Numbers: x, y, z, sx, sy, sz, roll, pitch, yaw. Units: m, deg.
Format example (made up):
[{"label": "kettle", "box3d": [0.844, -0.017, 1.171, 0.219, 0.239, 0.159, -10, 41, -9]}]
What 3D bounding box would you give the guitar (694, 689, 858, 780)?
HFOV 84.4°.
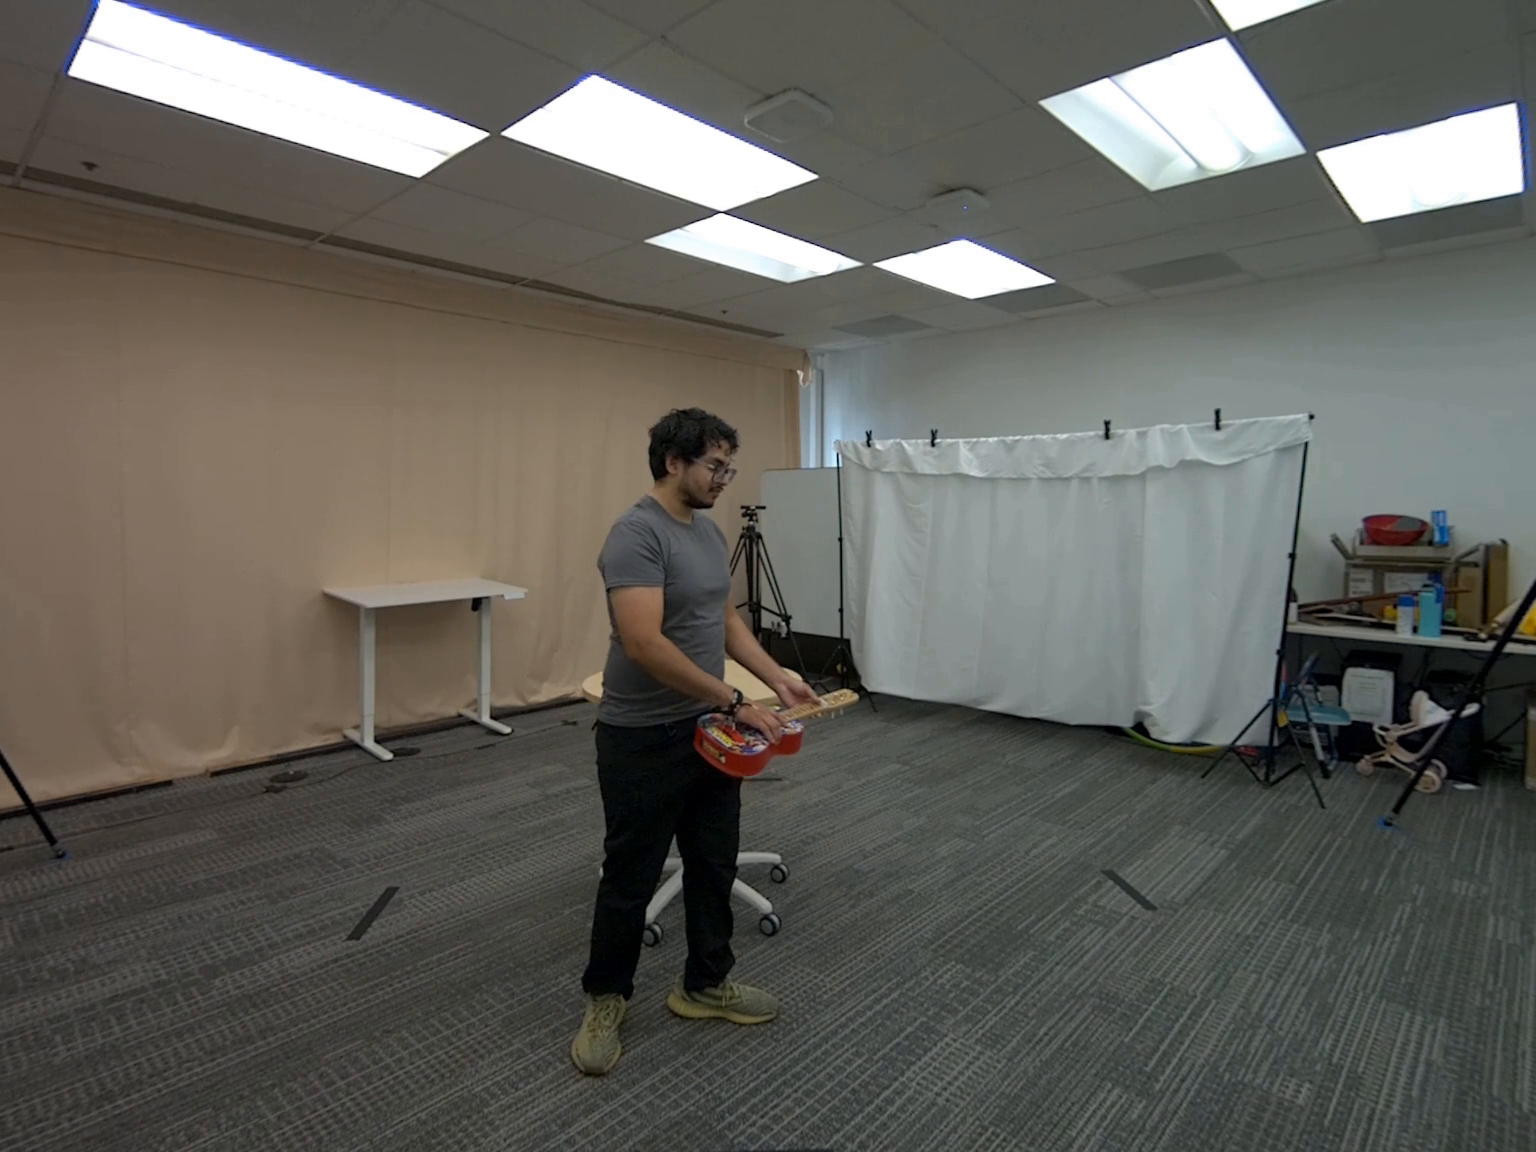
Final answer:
[{"label": "guitar", "box3d": [0.061, 0.379, 2.090, 0.483, 0.070, 0.200, 0, 29, -34]}]
